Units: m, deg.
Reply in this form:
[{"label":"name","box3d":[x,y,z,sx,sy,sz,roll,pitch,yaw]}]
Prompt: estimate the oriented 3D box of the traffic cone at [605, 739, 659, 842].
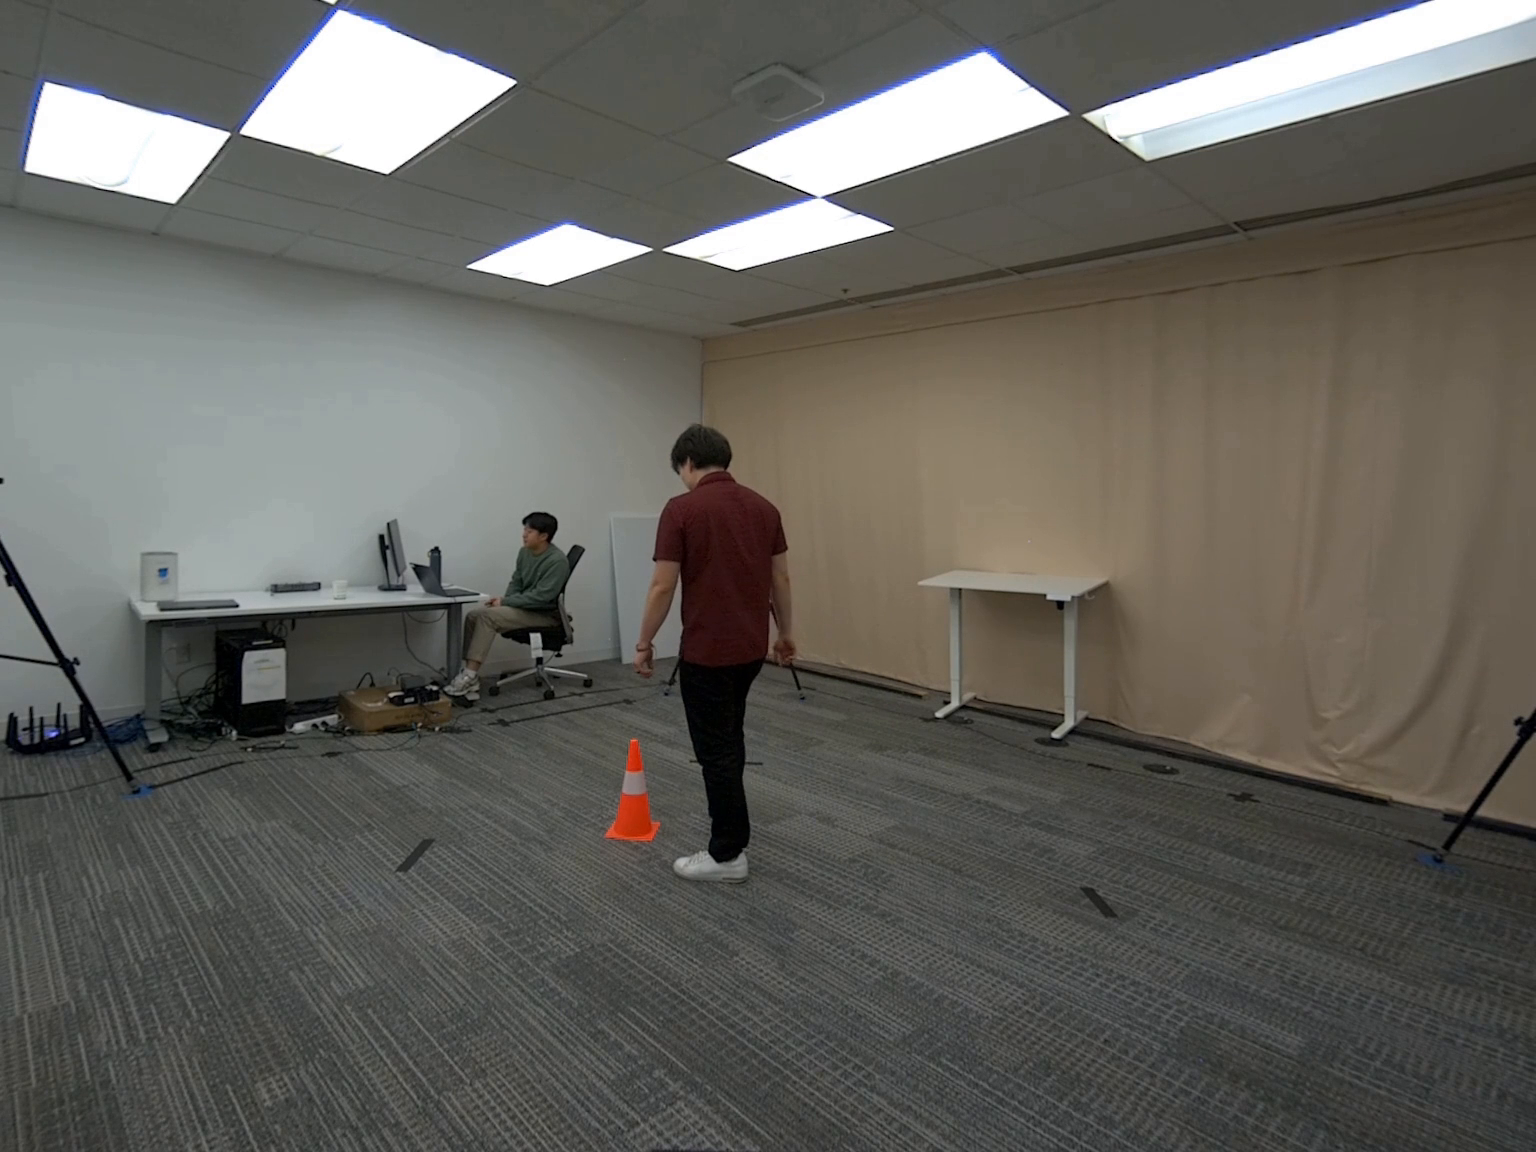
[{"label":"traffic cone","box3d":[-0.567,0.872,3.497,0.206,0.383,0.203,1,3,6]}]
